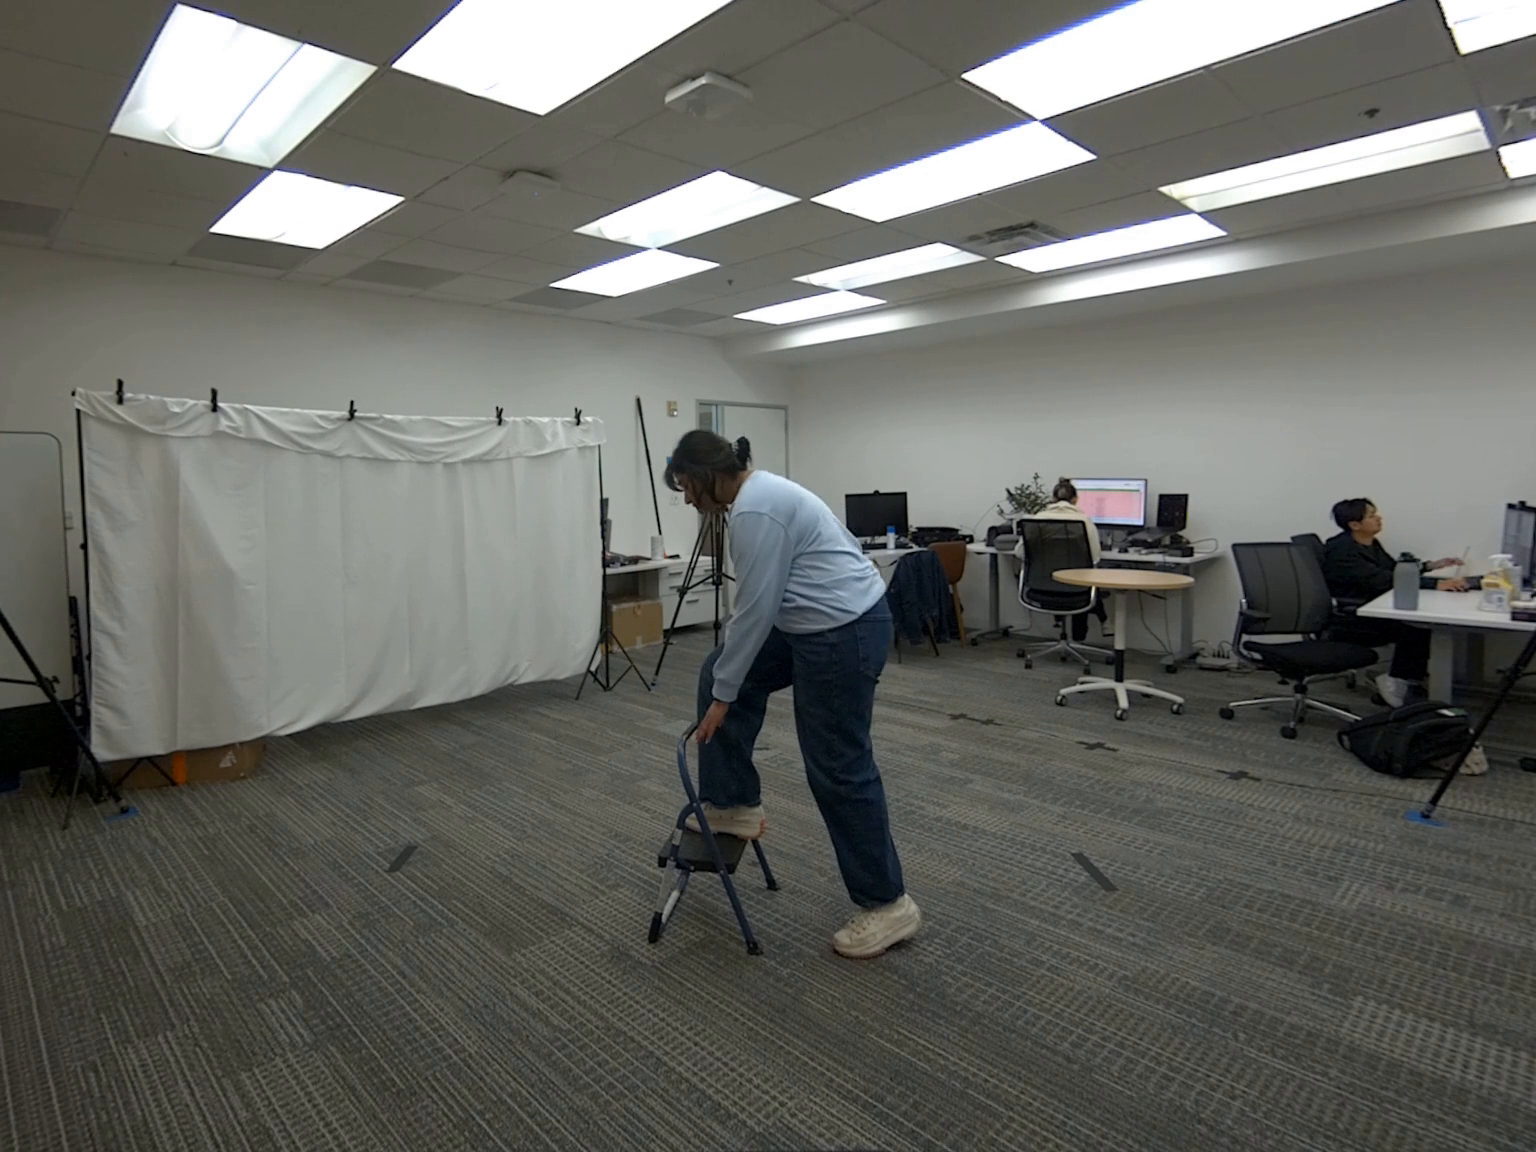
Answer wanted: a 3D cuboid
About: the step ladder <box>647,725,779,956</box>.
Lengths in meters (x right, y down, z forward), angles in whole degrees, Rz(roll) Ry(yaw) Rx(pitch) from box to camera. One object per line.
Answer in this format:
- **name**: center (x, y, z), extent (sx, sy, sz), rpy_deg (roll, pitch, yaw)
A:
- **step ladder**: center (-0.168, 0.789, 2.738), extent (0.353, 0.604, 0.427), rpy_deg (-1, 4, 10)
